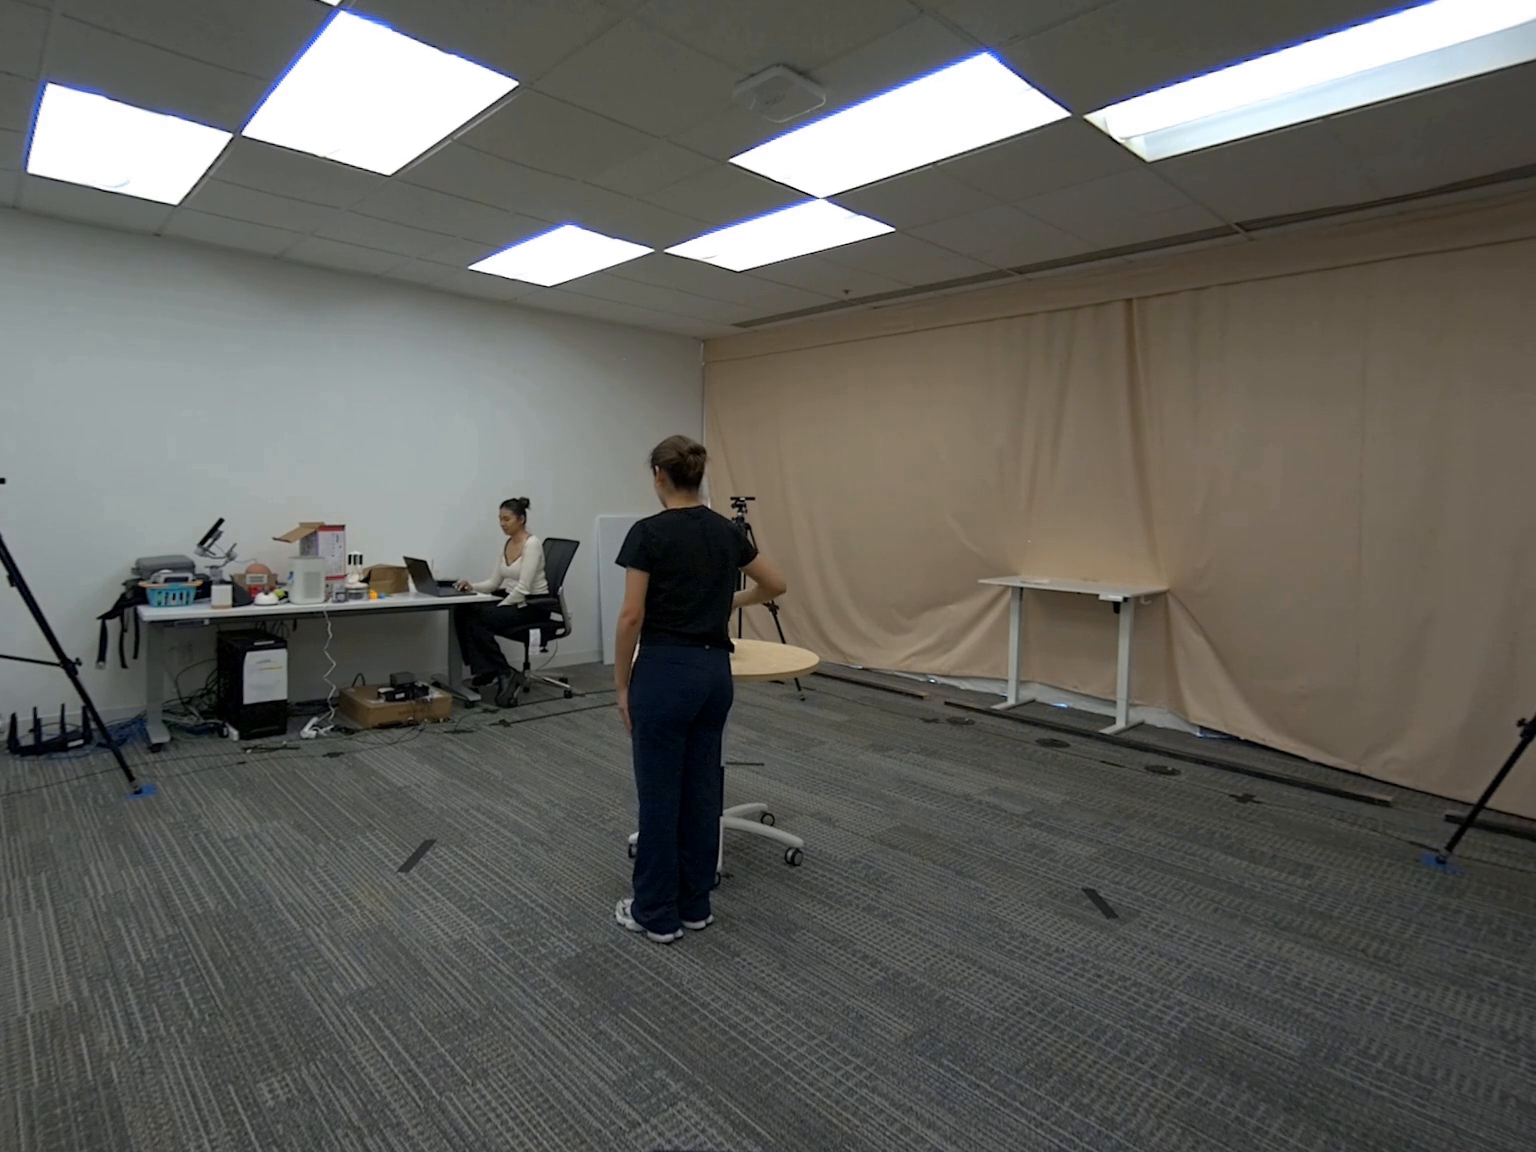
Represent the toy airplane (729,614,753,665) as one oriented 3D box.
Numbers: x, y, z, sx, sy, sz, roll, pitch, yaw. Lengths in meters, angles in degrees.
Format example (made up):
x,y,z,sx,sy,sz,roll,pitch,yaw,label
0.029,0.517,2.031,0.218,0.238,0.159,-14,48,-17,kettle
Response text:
x,y,z,sx,sy,sz,roll,pitch,yaw,label
-0.228,0.235,3.261,0.263,0.156,0.248,2,5,20,toy airplane
